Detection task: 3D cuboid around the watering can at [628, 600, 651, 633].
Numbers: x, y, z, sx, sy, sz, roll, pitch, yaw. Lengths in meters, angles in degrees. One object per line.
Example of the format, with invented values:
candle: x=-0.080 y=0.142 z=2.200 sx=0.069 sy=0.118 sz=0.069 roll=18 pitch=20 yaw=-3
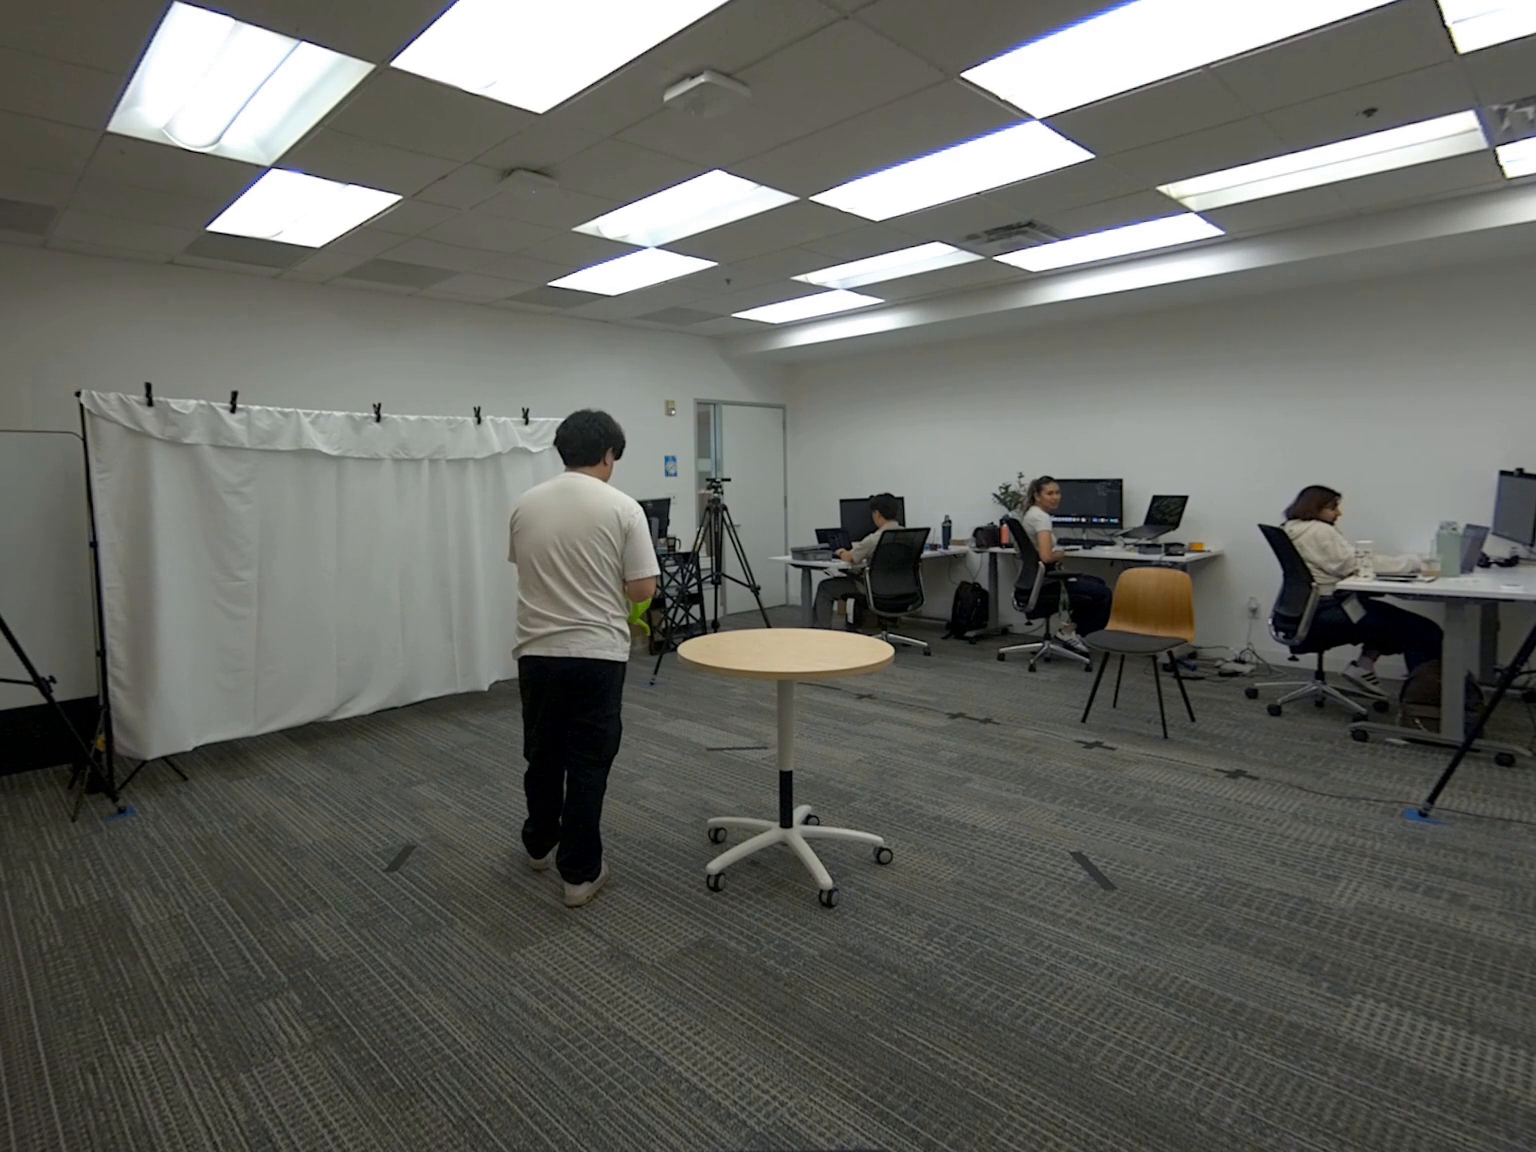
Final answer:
watering can: x=-0.474 y=0.121 z=3.189 sx=0.099 sy=0.274 sz=0.177 roll=-14 pitch=14 yaw=17
